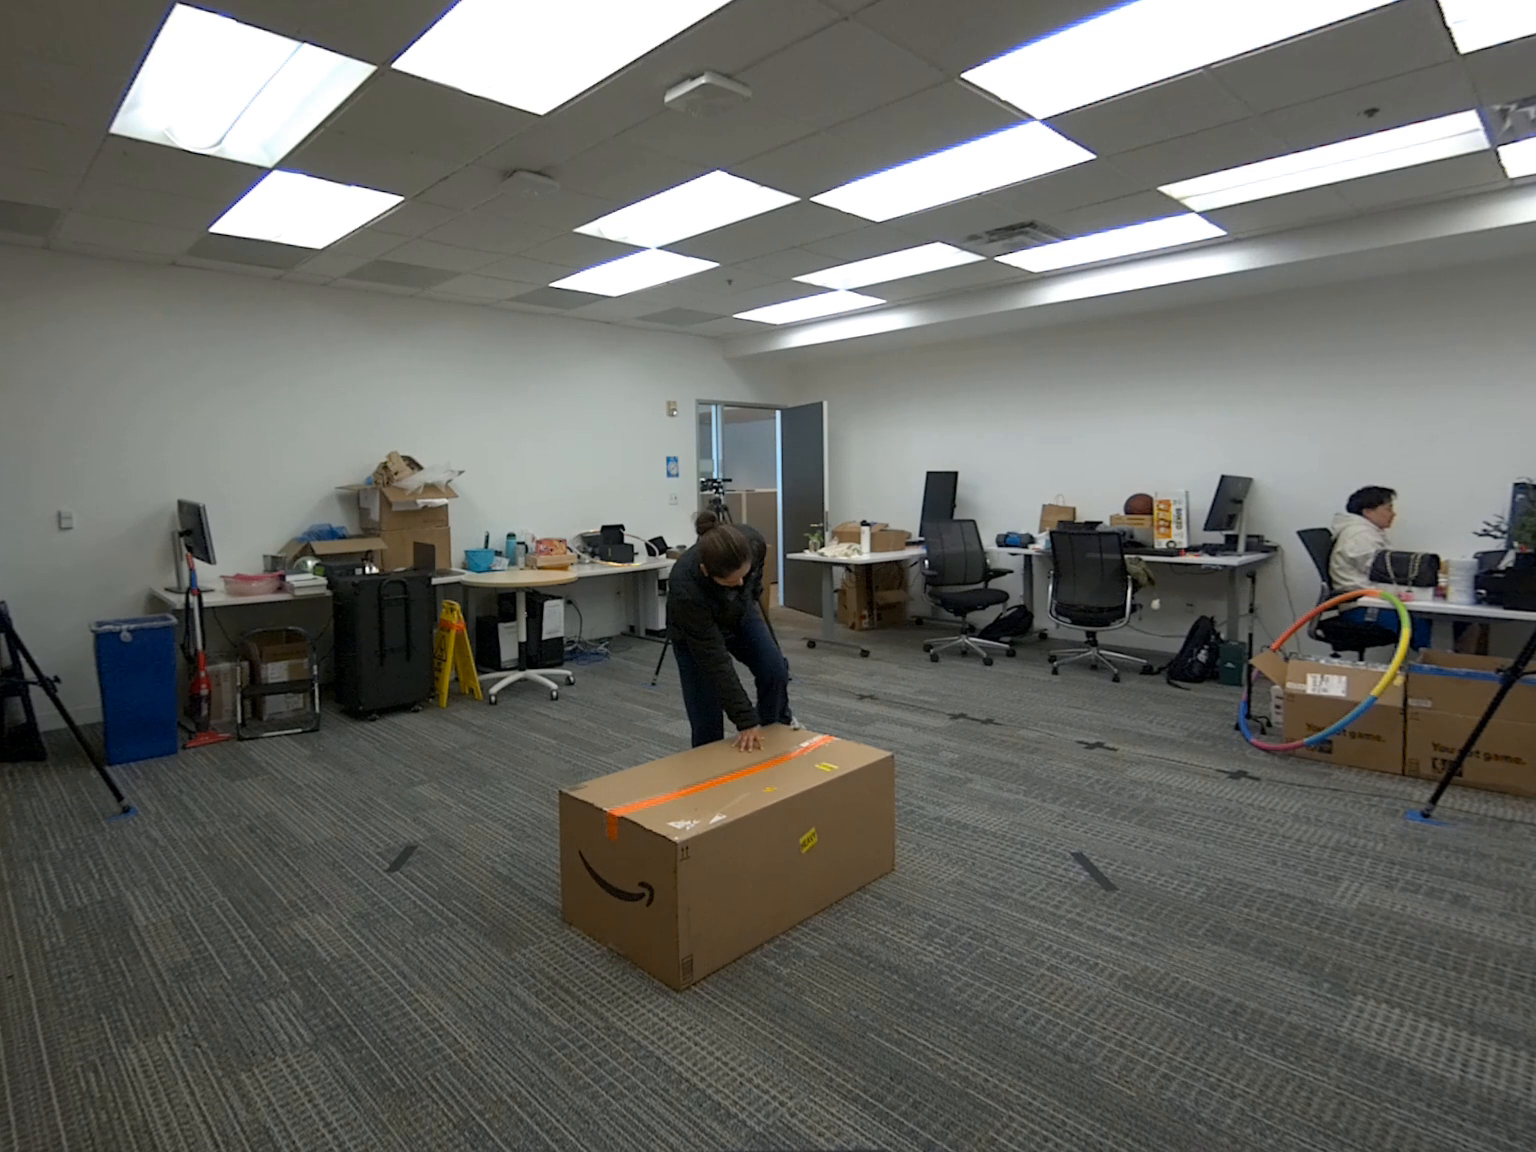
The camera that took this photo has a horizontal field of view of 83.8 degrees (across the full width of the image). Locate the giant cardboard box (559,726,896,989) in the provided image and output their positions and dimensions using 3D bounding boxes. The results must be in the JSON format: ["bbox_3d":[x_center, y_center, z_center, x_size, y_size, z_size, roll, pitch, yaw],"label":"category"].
[{"bbox_3d":[-0.106,0.863,2.884,0.601,0.445,1.001,3,7,44],"label":"giant cardboard box"}]
